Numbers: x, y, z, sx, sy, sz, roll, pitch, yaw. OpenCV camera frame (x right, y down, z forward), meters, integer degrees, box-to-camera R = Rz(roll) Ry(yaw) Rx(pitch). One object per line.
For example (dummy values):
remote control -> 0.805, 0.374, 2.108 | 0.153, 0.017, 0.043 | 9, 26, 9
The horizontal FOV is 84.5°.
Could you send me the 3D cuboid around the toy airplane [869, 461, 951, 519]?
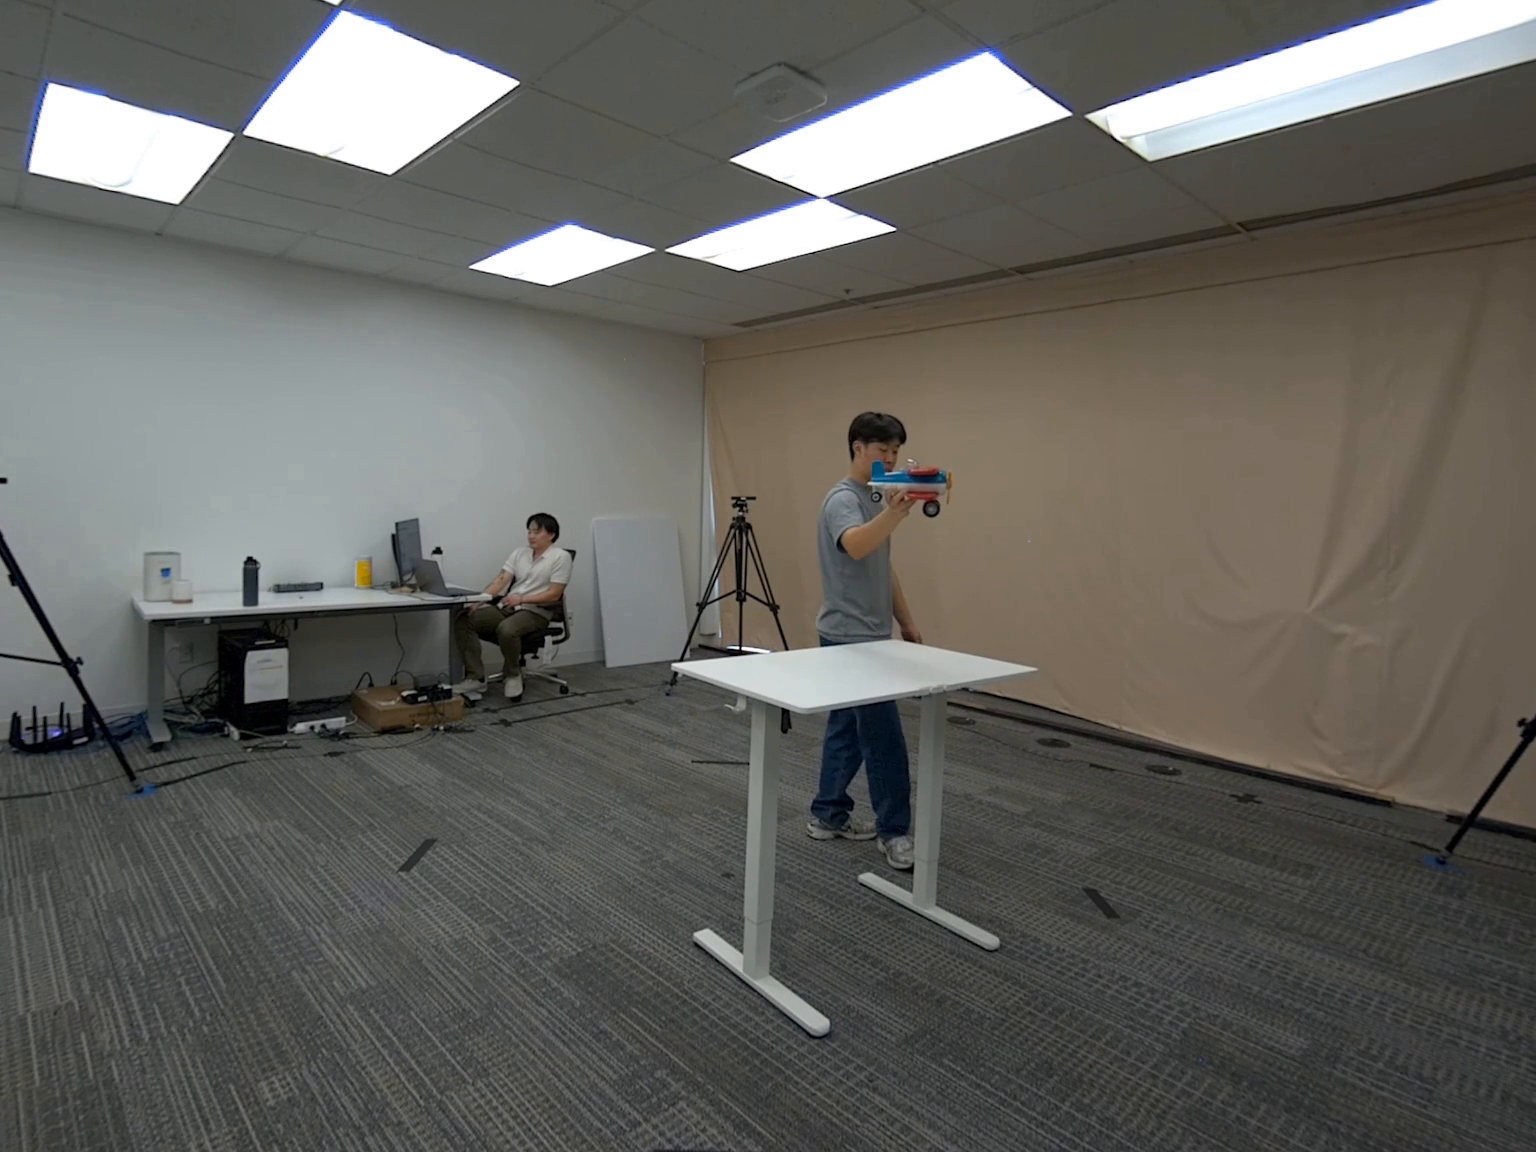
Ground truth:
toy airplane -> 0.449, -0.280, 2.670 | 0.255, 0.155, 0.256 | 12, 11, -18
